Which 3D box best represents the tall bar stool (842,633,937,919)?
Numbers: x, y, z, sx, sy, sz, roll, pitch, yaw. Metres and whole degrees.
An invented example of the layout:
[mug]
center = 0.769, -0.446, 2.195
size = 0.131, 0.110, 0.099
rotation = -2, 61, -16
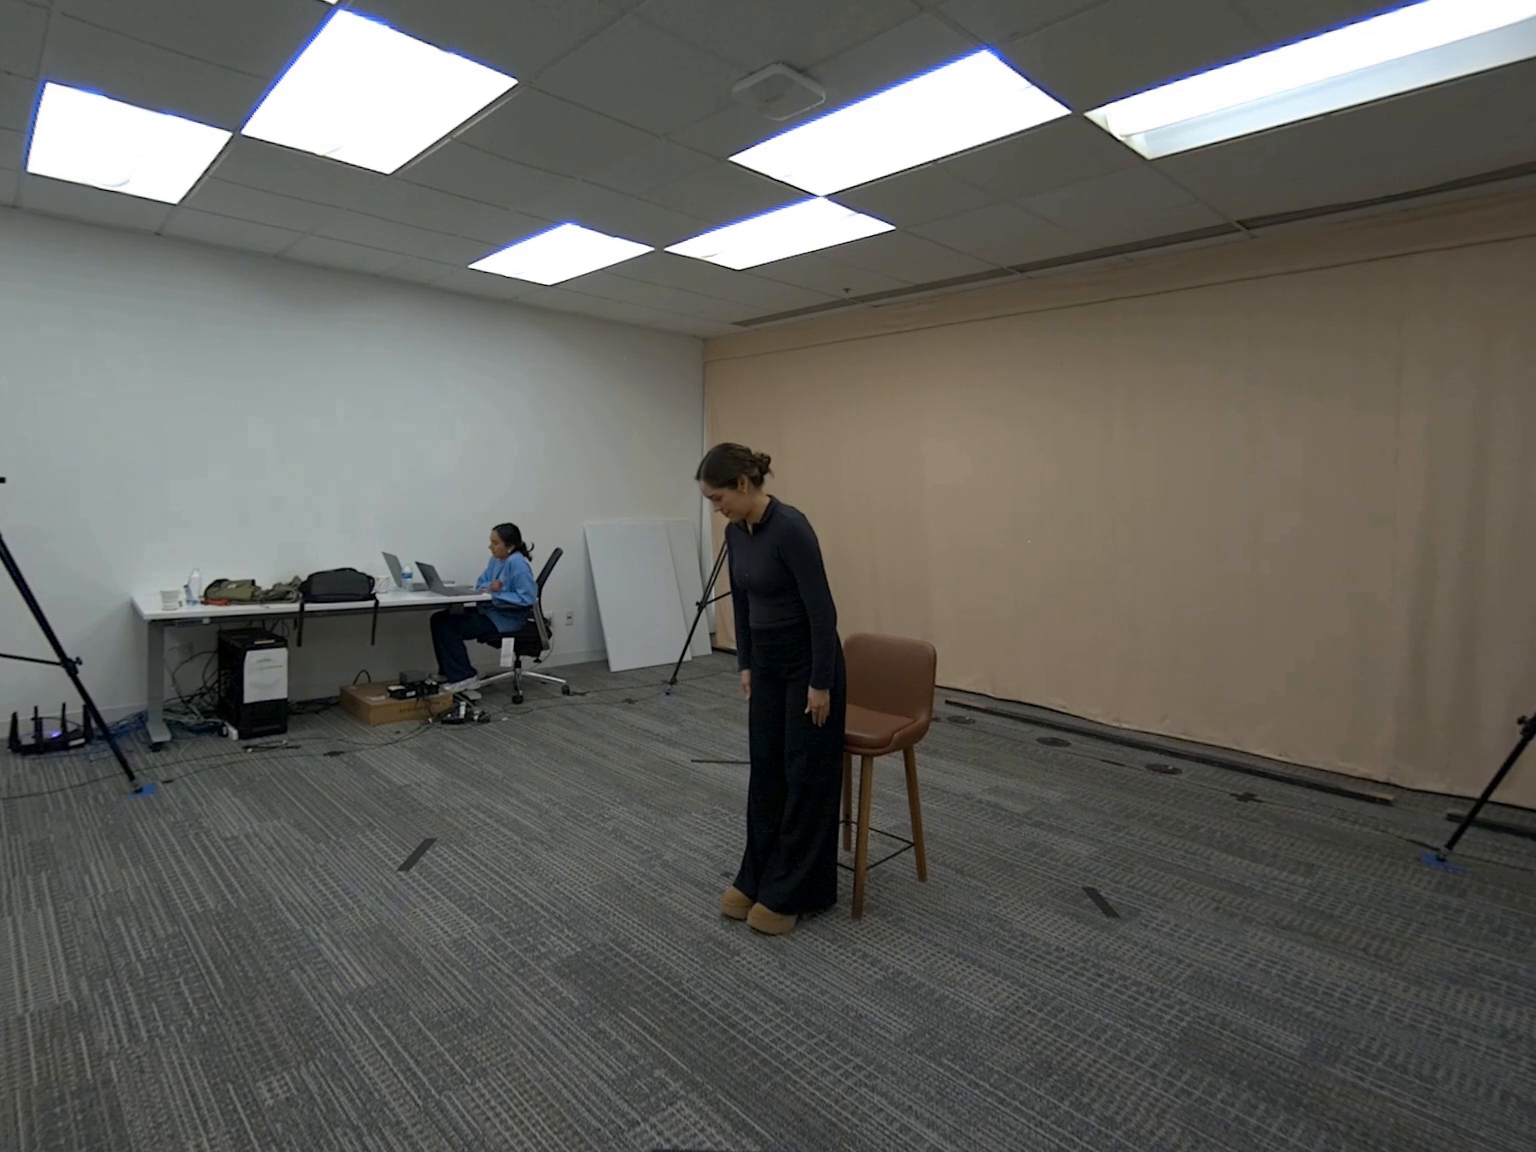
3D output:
[tall bar stool]
center = 0.312, 0.679, 3.059
size = 0.468, 0.888, 0.456
rotation = 4, 3, 45
